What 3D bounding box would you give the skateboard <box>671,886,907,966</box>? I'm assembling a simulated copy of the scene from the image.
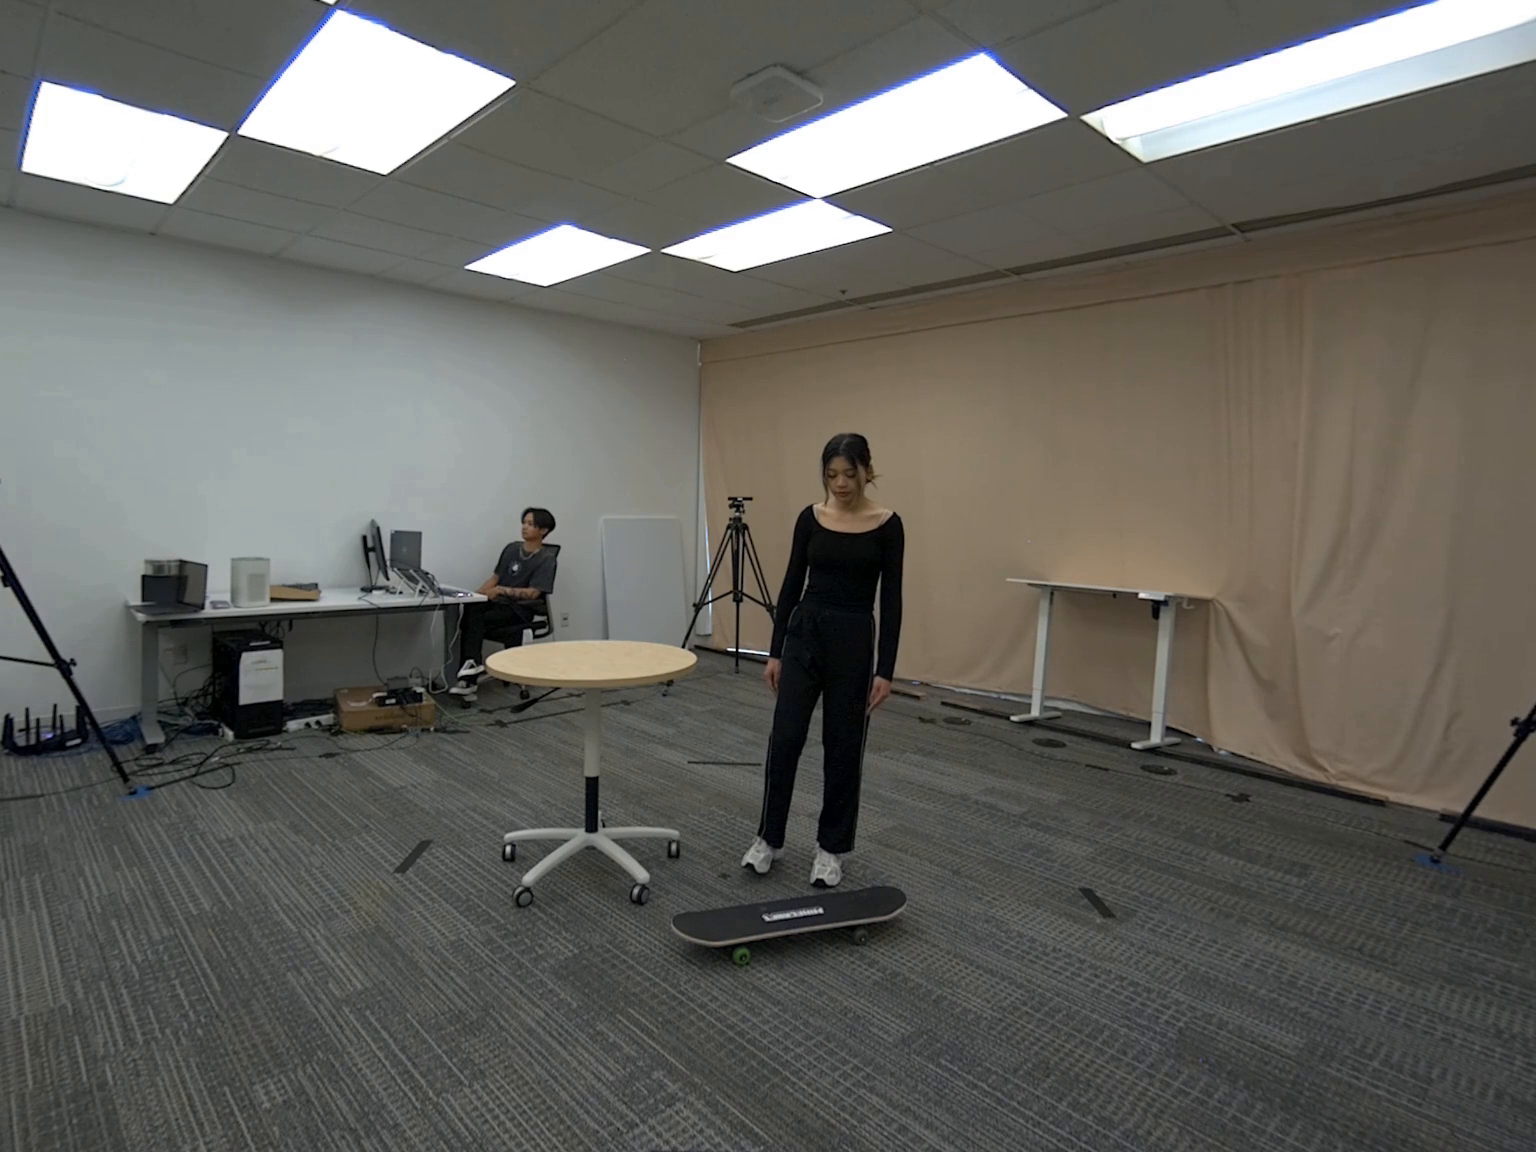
[{"bbox_3d":[0.077,1.096,2.648,0.774,0.110,0.196,0,4,-18],"label":"skateboard"}]
